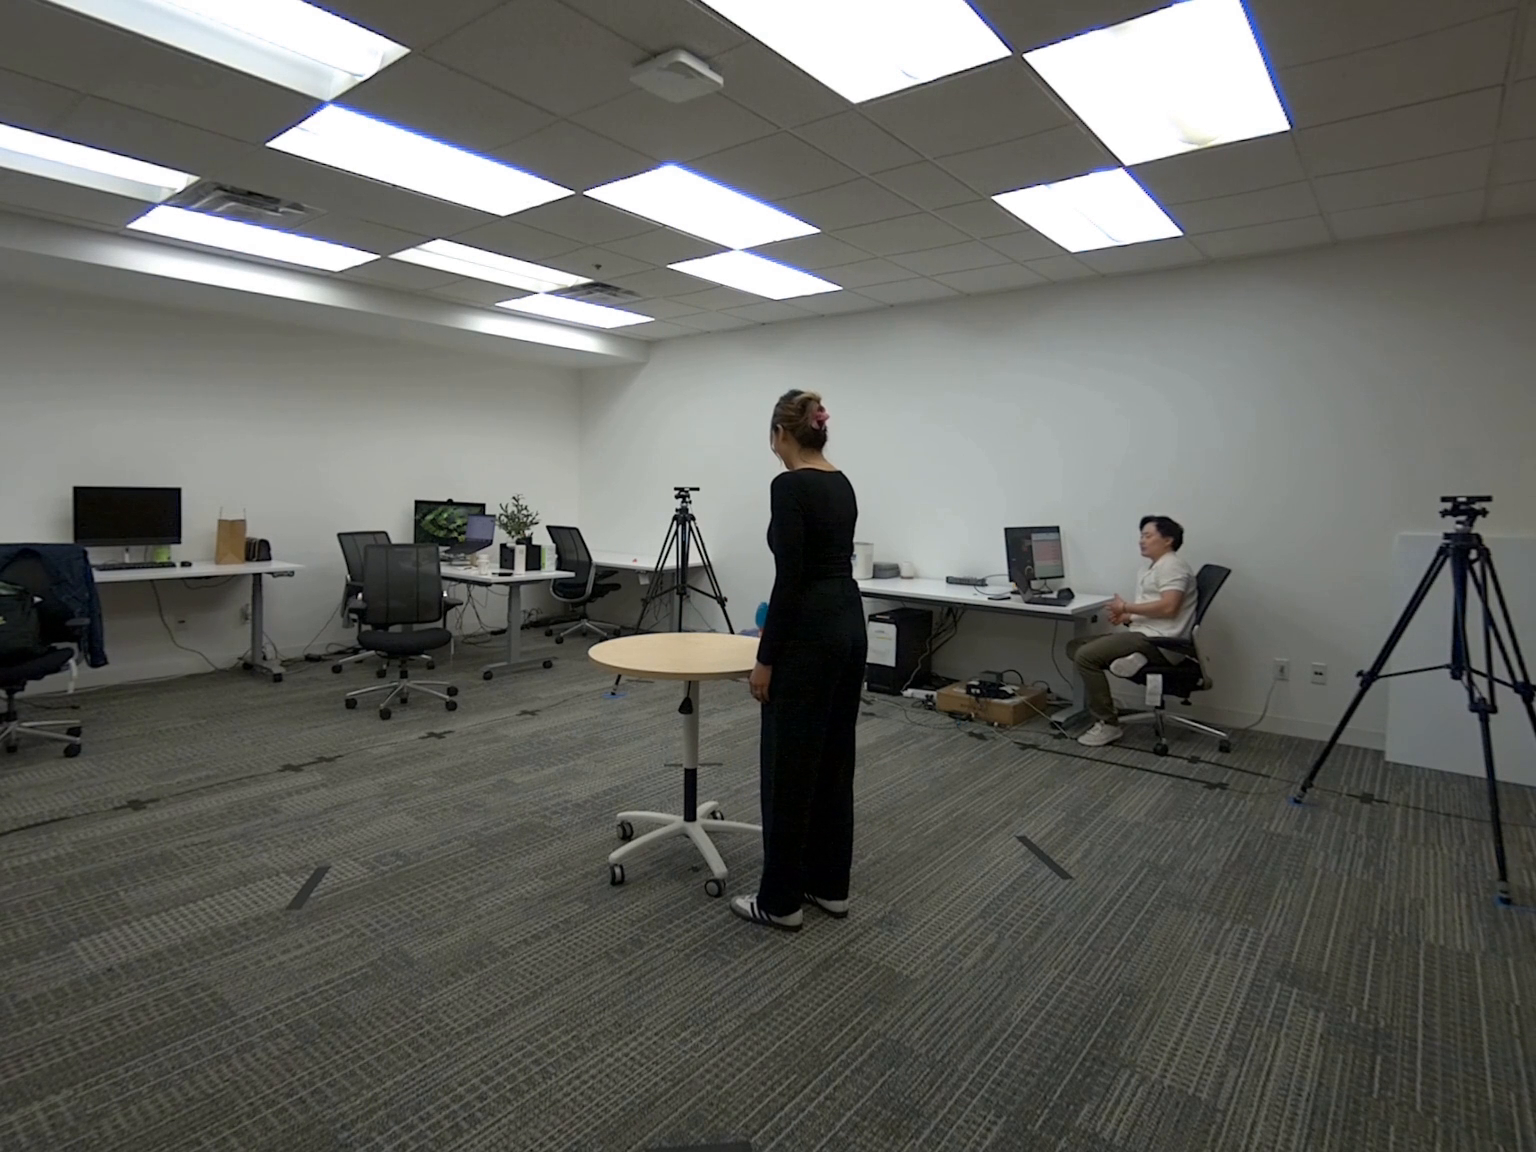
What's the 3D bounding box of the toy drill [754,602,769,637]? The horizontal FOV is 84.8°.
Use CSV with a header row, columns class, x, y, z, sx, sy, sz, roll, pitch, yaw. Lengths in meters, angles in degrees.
class,x,y,z,sx,sy,sz,roll,pitch,yaw
toy drill,0.011,0.178,3.239,0.149,0.169,0.060,0,2,22
